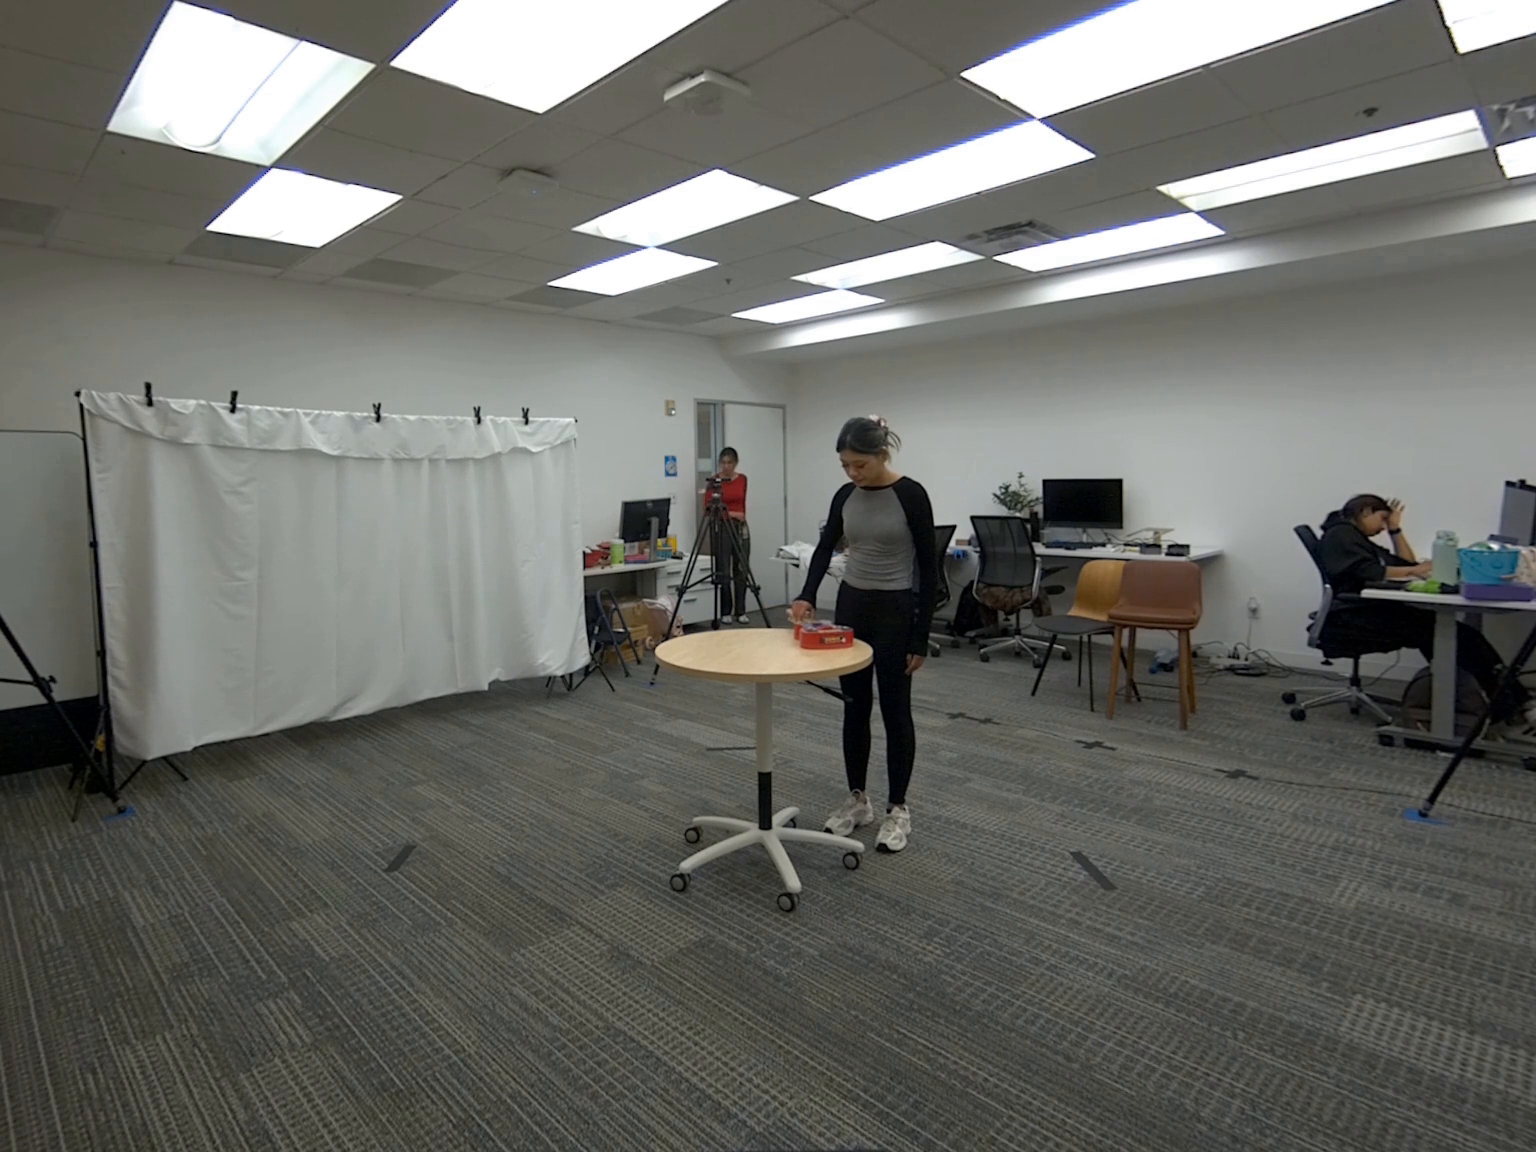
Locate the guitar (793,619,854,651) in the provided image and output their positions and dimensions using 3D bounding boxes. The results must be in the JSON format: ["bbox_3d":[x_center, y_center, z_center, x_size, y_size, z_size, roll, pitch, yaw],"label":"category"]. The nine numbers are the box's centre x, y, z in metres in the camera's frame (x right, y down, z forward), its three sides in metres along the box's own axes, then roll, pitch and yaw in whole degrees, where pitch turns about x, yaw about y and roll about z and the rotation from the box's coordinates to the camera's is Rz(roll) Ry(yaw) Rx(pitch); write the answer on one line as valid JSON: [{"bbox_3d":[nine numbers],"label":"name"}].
[{"bbox_3d":[0.193,0.195,3.242,0.192,0.070,0.503,-1,7,-6],"label":"guitar"}]
